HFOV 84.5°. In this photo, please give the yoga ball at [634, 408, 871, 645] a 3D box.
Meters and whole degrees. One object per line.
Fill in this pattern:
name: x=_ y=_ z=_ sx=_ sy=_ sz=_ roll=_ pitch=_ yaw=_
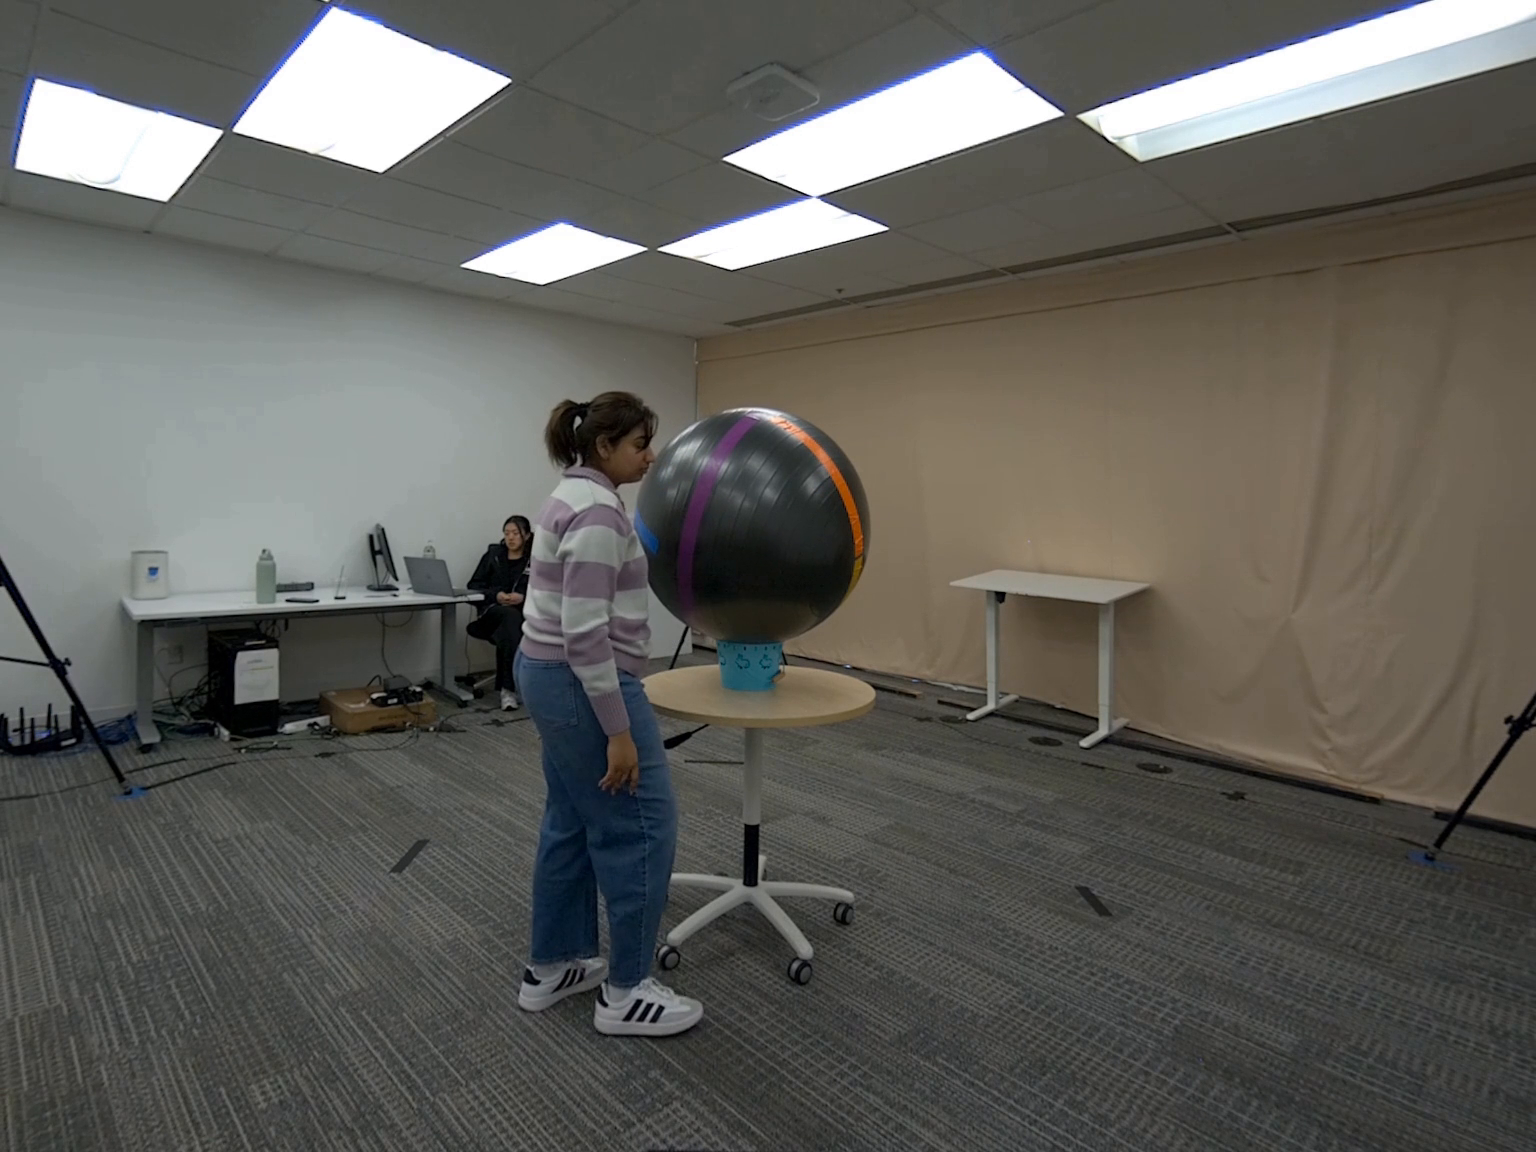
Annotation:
yoga ball: x=-0.046 y=-0.155 z=2.712 sx=0.757 sy=0.756 sz=0.761 roll=1 pitch=4 yaw=-1
